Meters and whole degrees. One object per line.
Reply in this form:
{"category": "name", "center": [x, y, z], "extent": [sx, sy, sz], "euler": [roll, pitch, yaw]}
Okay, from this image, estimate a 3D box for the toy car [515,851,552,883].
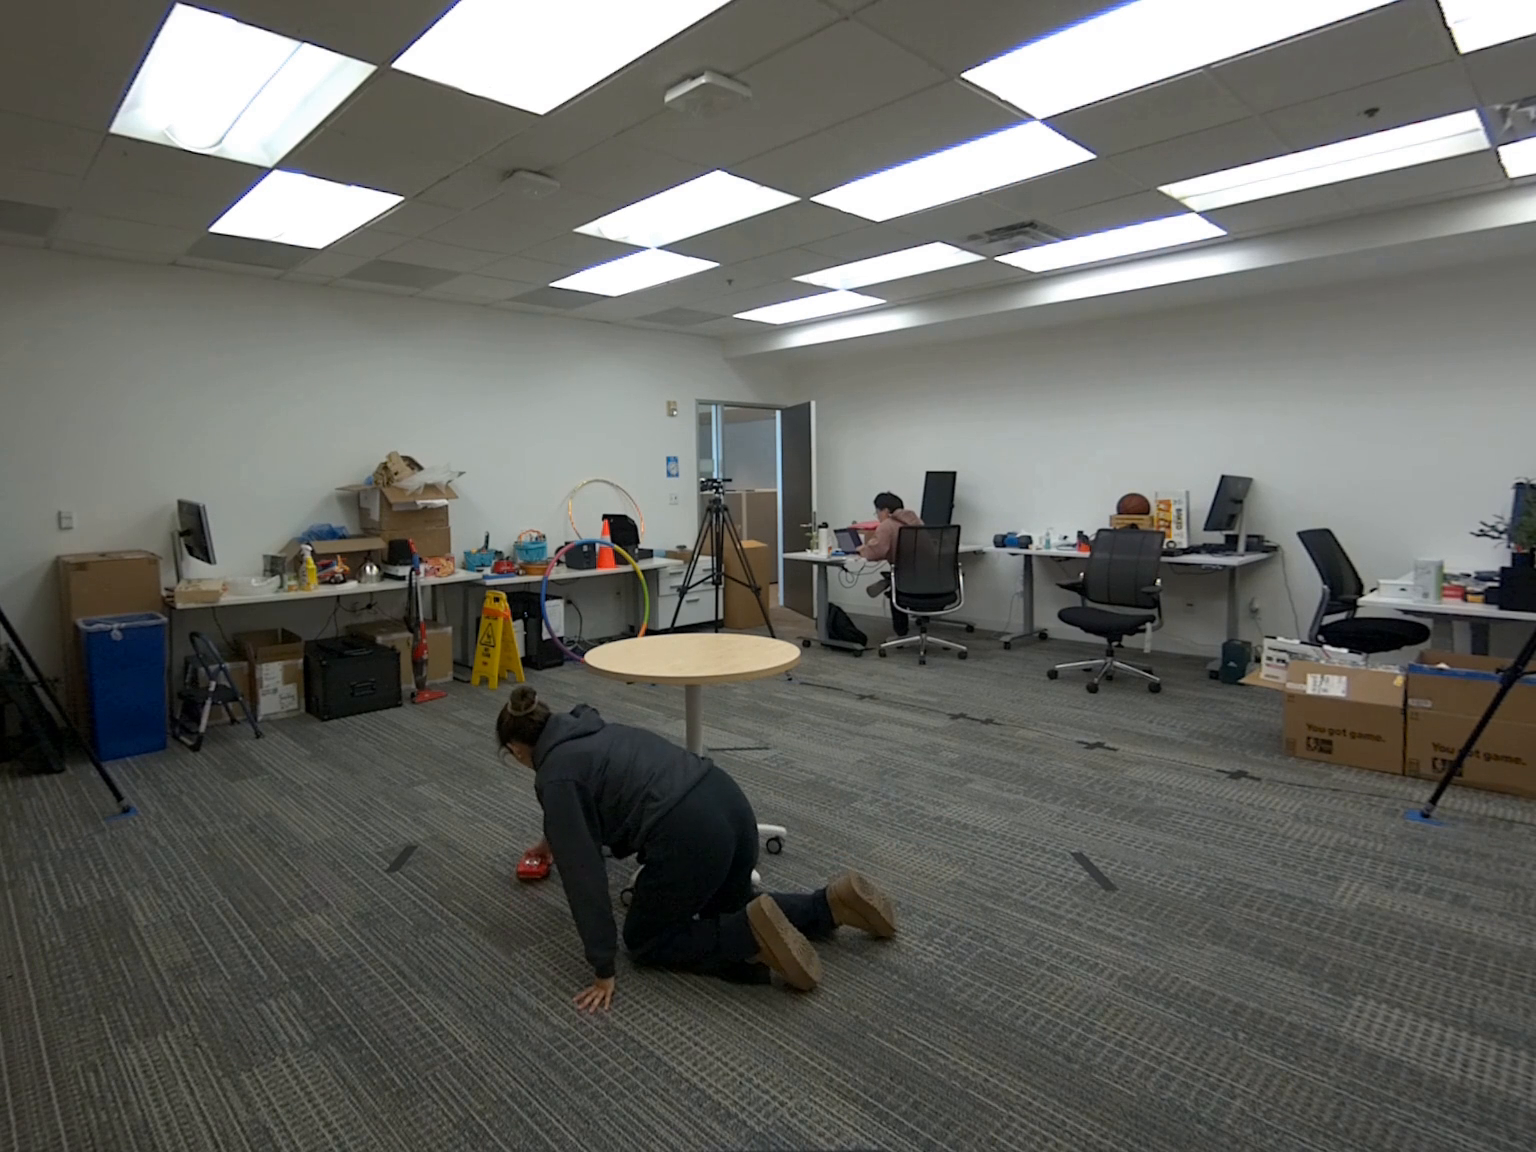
{"category": "toy car", "center": [-0.834, 1.034, 3.067], "extent": [0.130, 0.084, 0.252], "euler": [0, -6, 1]}
